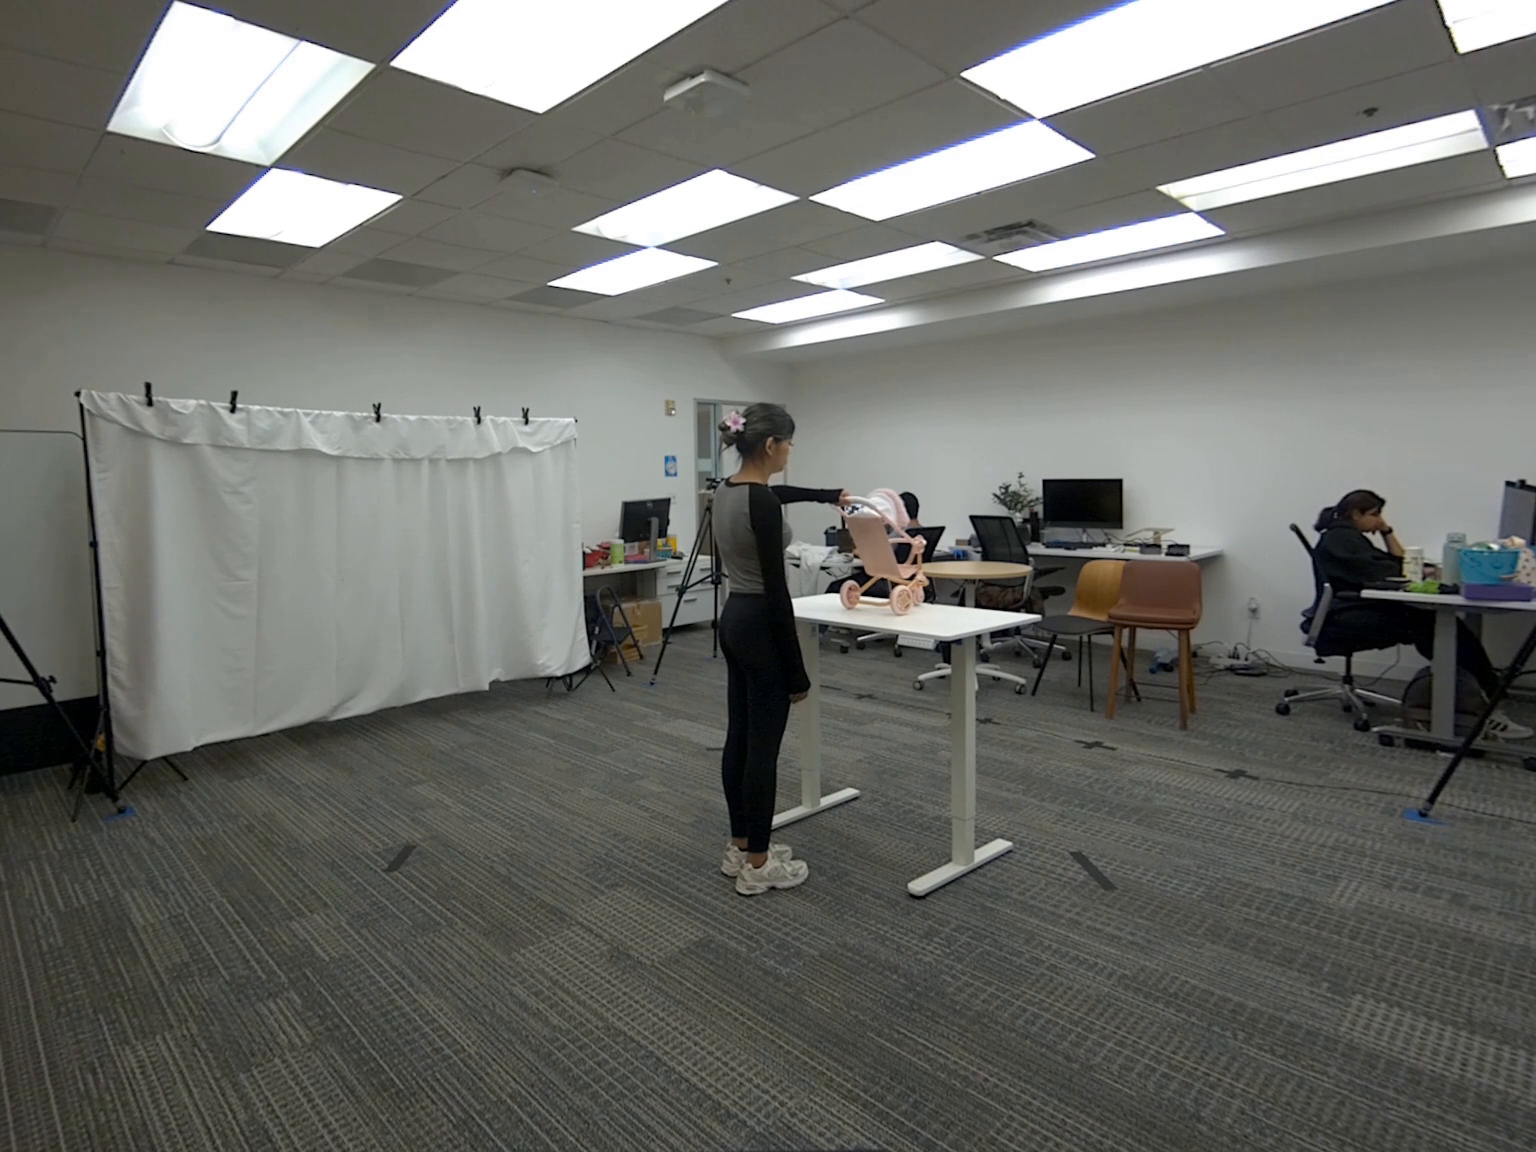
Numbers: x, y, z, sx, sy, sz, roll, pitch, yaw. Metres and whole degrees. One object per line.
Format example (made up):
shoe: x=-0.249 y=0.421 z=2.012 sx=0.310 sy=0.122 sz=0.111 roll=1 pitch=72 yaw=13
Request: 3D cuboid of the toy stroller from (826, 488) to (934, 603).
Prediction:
toy stroller: x=0.450 y=-0.093 z=3.260 sx=0.336 sy=0.528 sz=0.290 roll=-21 pitch=15 yaw=-33
